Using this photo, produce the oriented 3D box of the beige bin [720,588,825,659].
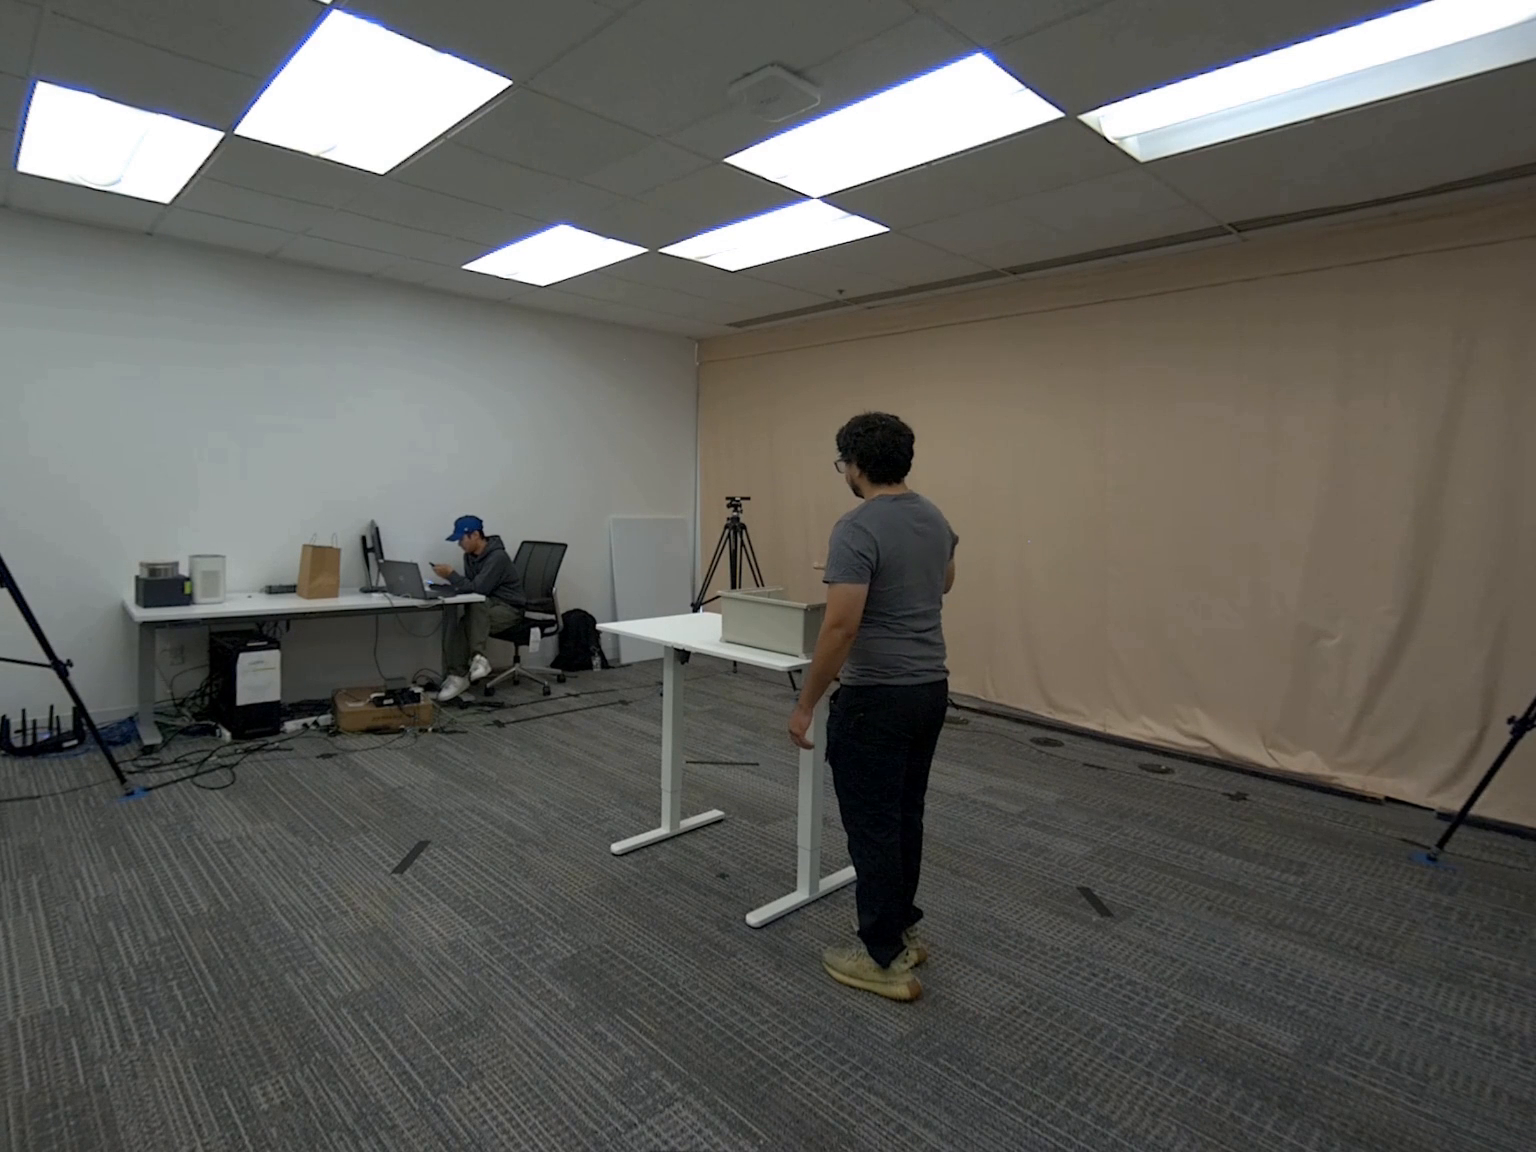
[{"bbox_3d":[0.094,0.155,2.961,0.369,0.188,0.433,-5,9,-44],"label":"beige bin"}]
